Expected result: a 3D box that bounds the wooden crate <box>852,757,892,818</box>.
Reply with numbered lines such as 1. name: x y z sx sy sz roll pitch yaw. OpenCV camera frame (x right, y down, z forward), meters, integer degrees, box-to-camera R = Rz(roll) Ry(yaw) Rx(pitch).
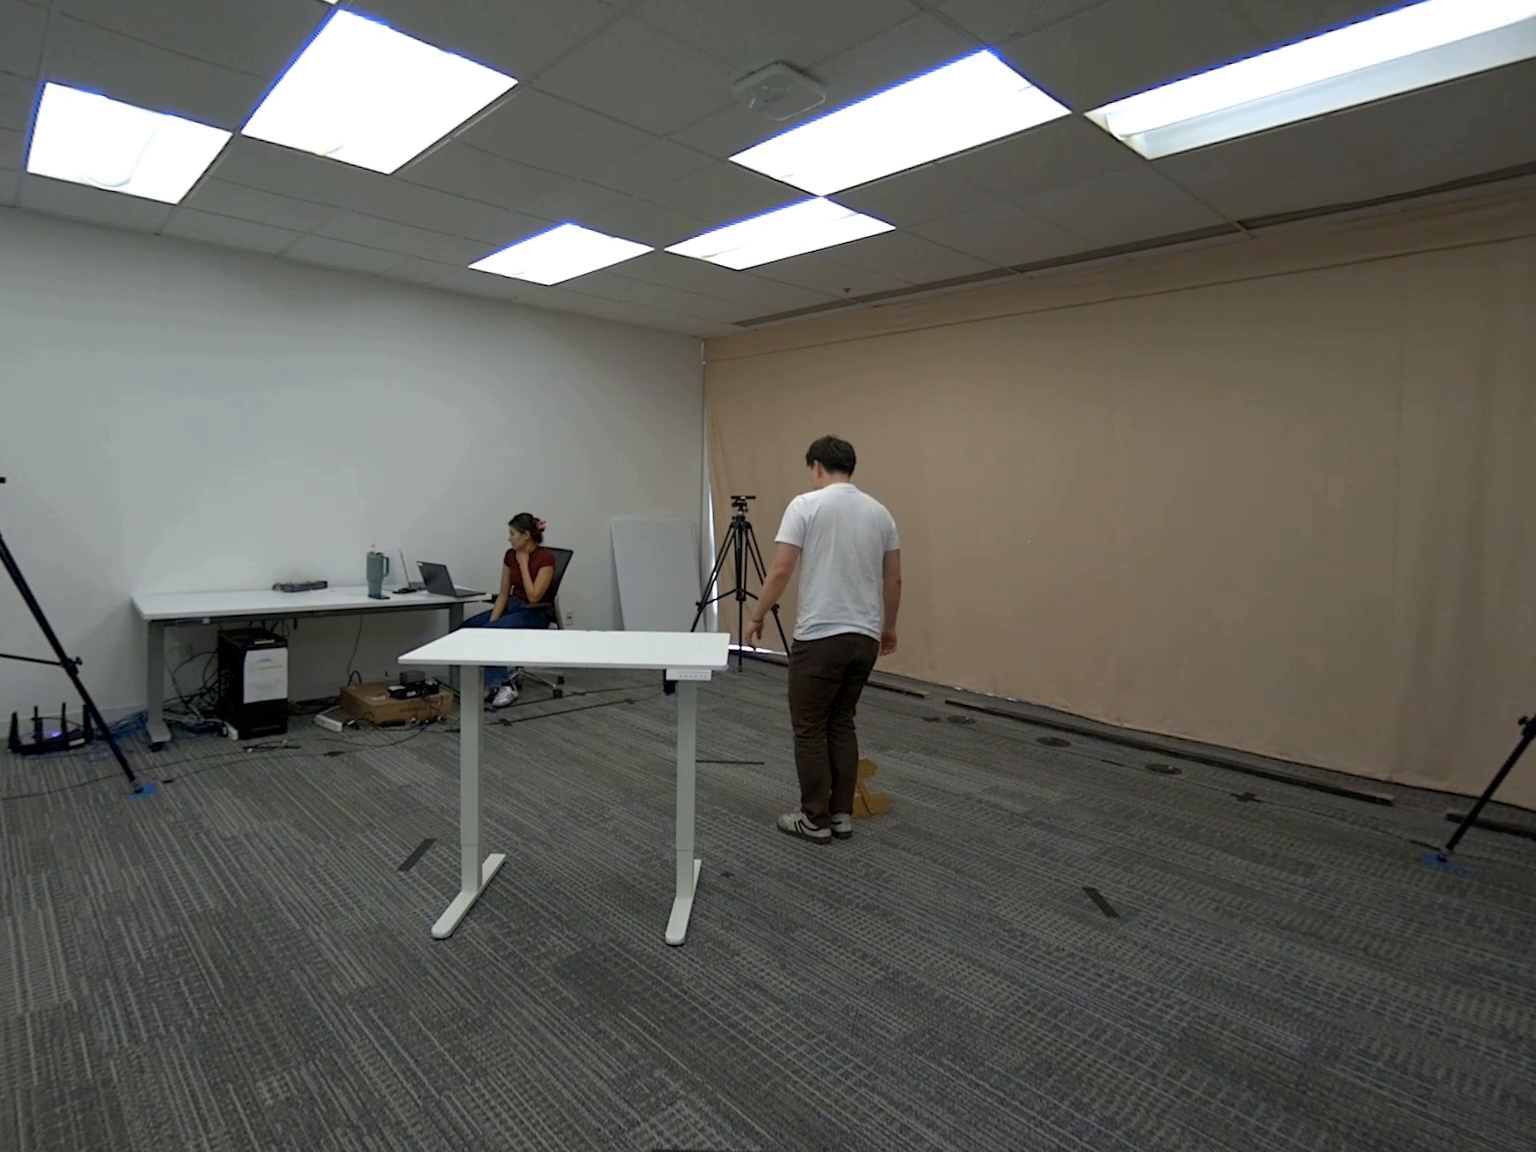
1. wooden crate: 0.355 0.921 3.858 0.296 0.272 0.332 -2 5 -31
